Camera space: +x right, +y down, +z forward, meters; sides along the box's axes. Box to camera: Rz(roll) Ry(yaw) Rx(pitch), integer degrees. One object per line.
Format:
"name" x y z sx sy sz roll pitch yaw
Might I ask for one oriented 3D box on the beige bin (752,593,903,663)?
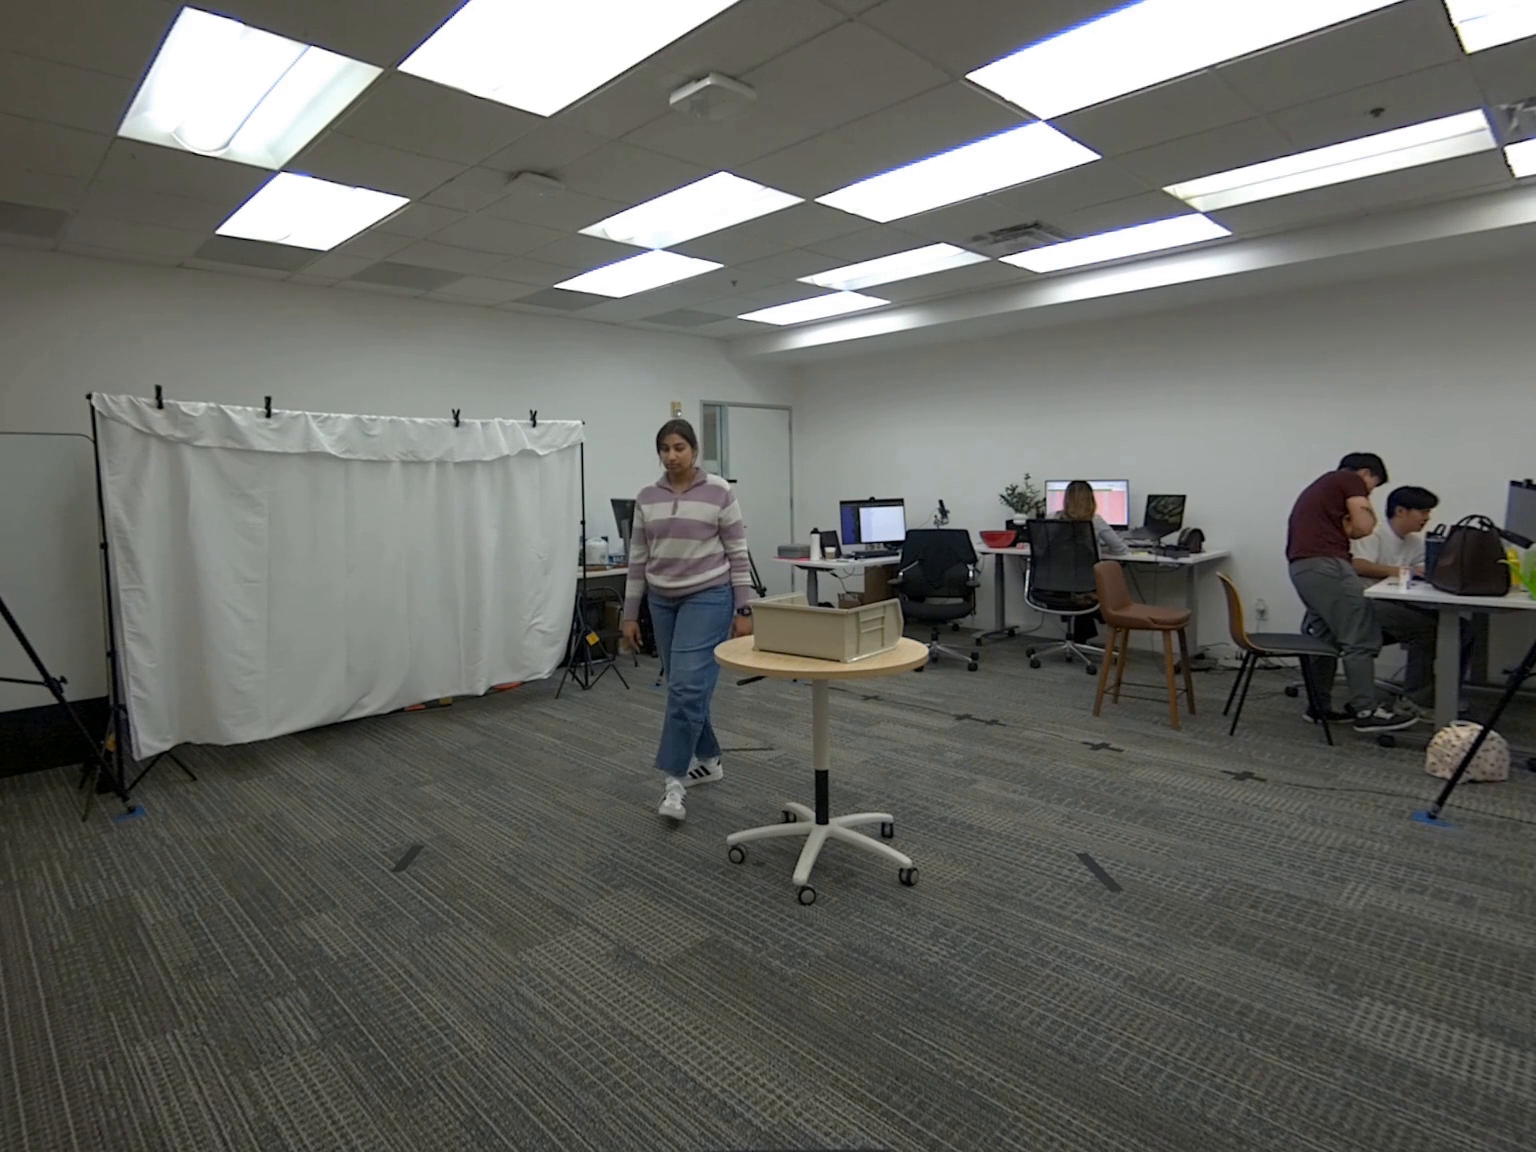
"beige bin" 0.208 0.173 3.066 0.435 0.188 0.368 4 9 39
